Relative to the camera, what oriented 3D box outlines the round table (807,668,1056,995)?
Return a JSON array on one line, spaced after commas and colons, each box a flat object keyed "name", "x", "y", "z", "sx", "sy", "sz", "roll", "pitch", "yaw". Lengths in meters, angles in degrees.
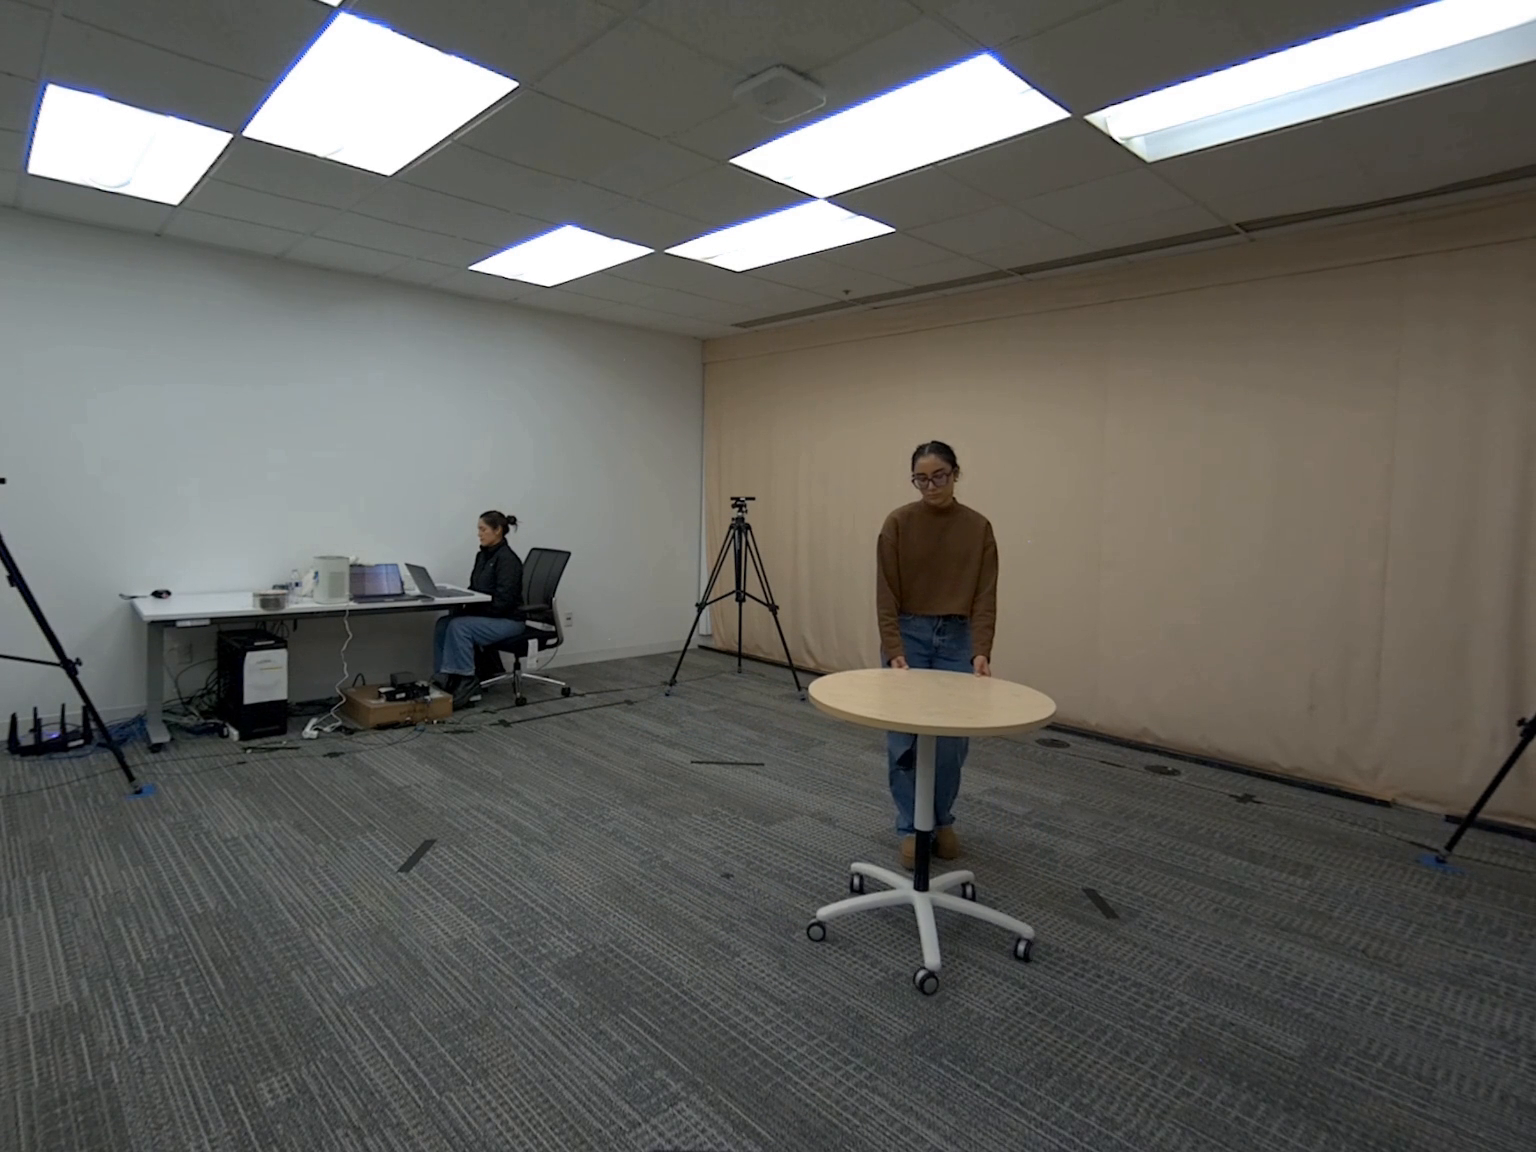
[{"name": "round table", "x": 0.492, "y": 0.769, "z": 2.719, "sx": 0.763, "sy": 0.792, "sz": 0.767, "roll": 1, "pitch": 4, "yaw": -1}]
